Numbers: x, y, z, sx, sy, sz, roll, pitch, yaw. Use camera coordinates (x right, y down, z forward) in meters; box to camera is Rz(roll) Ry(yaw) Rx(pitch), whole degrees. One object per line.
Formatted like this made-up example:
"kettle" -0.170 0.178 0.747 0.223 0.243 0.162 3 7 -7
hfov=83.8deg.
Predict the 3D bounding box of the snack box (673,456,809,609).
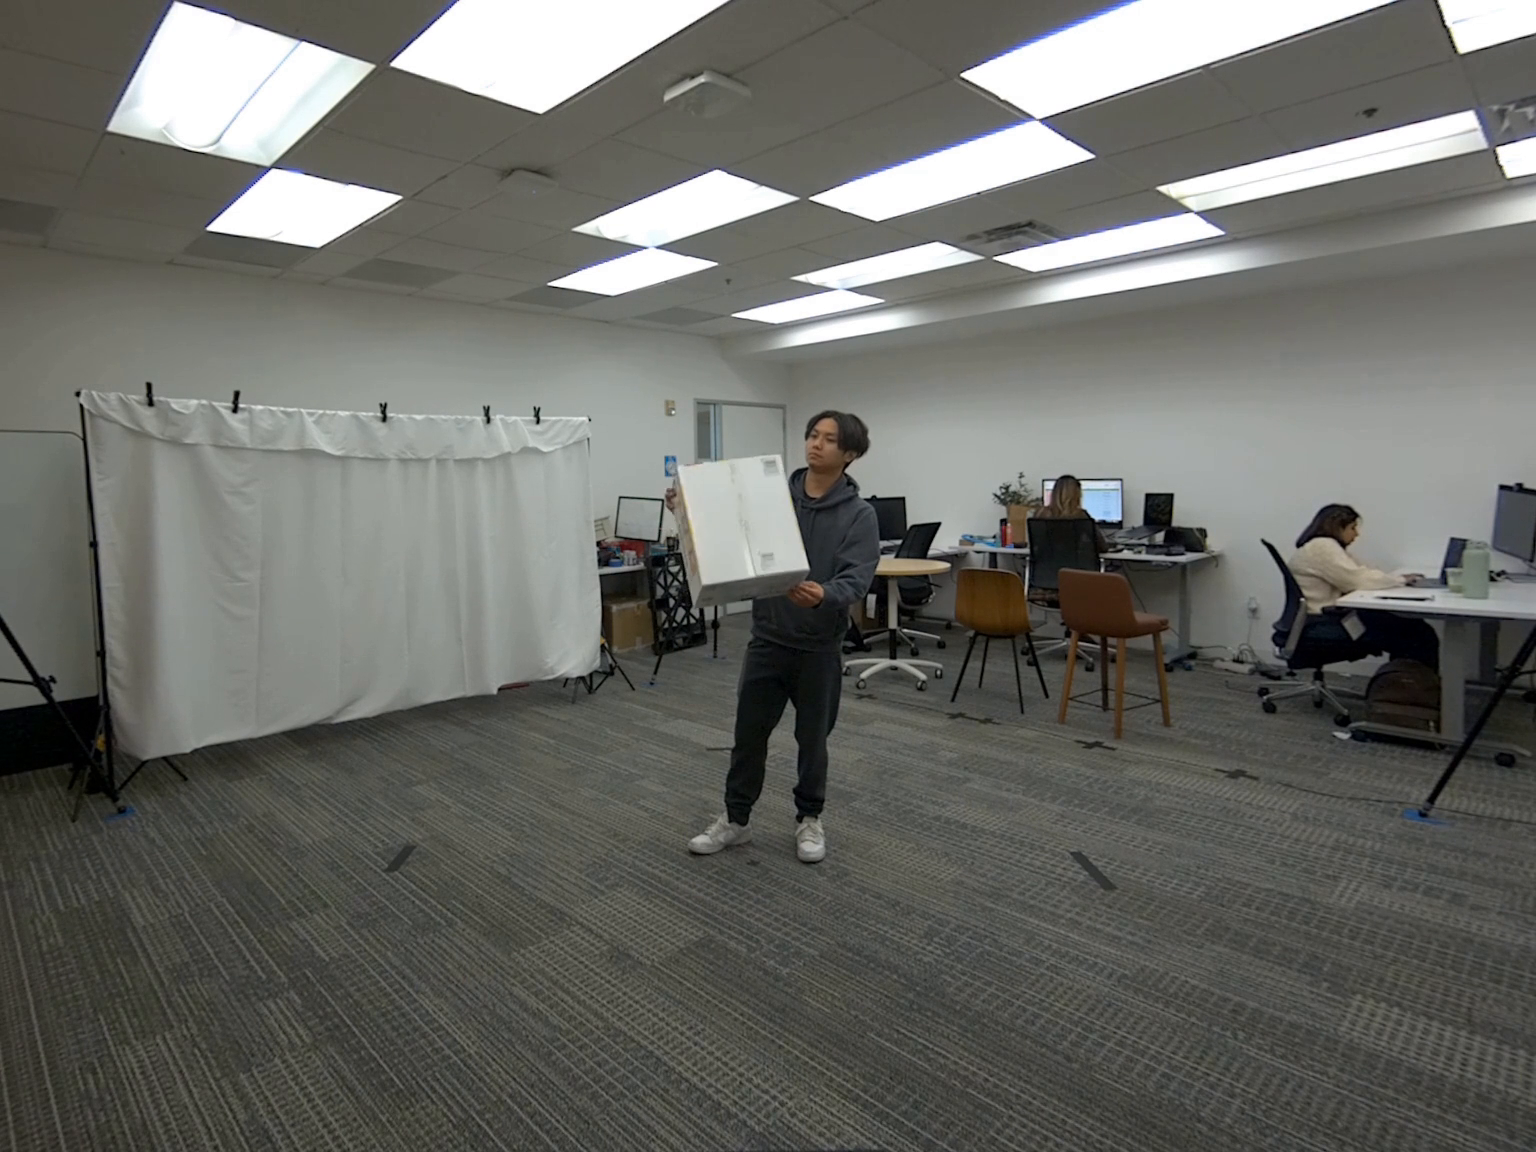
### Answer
"snack box" -0.095 -0.140 2.687 0.337 0.414 0.203 -9 -22 -12
